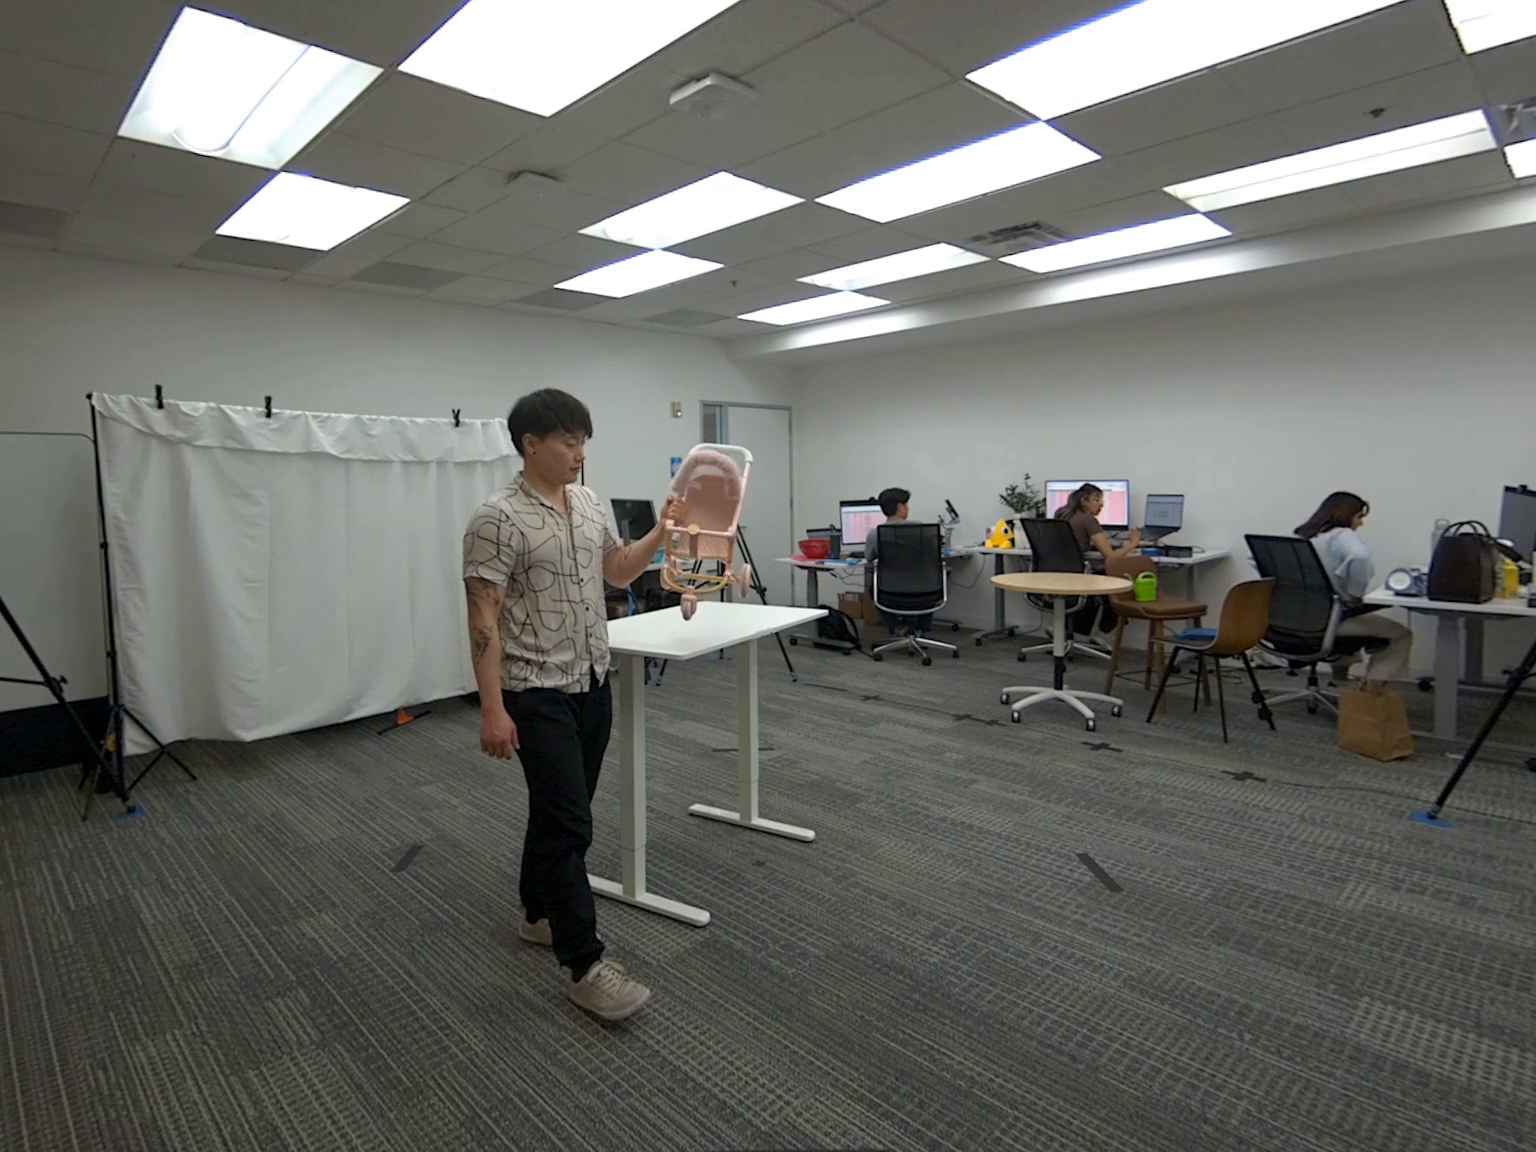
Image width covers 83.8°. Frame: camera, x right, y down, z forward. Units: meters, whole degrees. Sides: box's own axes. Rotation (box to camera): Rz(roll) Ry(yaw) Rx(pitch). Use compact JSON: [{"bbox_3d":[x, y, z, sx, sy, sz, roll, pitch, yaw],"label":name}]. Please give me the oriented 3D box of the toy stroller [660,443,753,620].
[{"bbox_3d":[-0.199,-0.144,2.597,0.285,0.534,0.338,7,2,10],"label":"toy stroller"}]
